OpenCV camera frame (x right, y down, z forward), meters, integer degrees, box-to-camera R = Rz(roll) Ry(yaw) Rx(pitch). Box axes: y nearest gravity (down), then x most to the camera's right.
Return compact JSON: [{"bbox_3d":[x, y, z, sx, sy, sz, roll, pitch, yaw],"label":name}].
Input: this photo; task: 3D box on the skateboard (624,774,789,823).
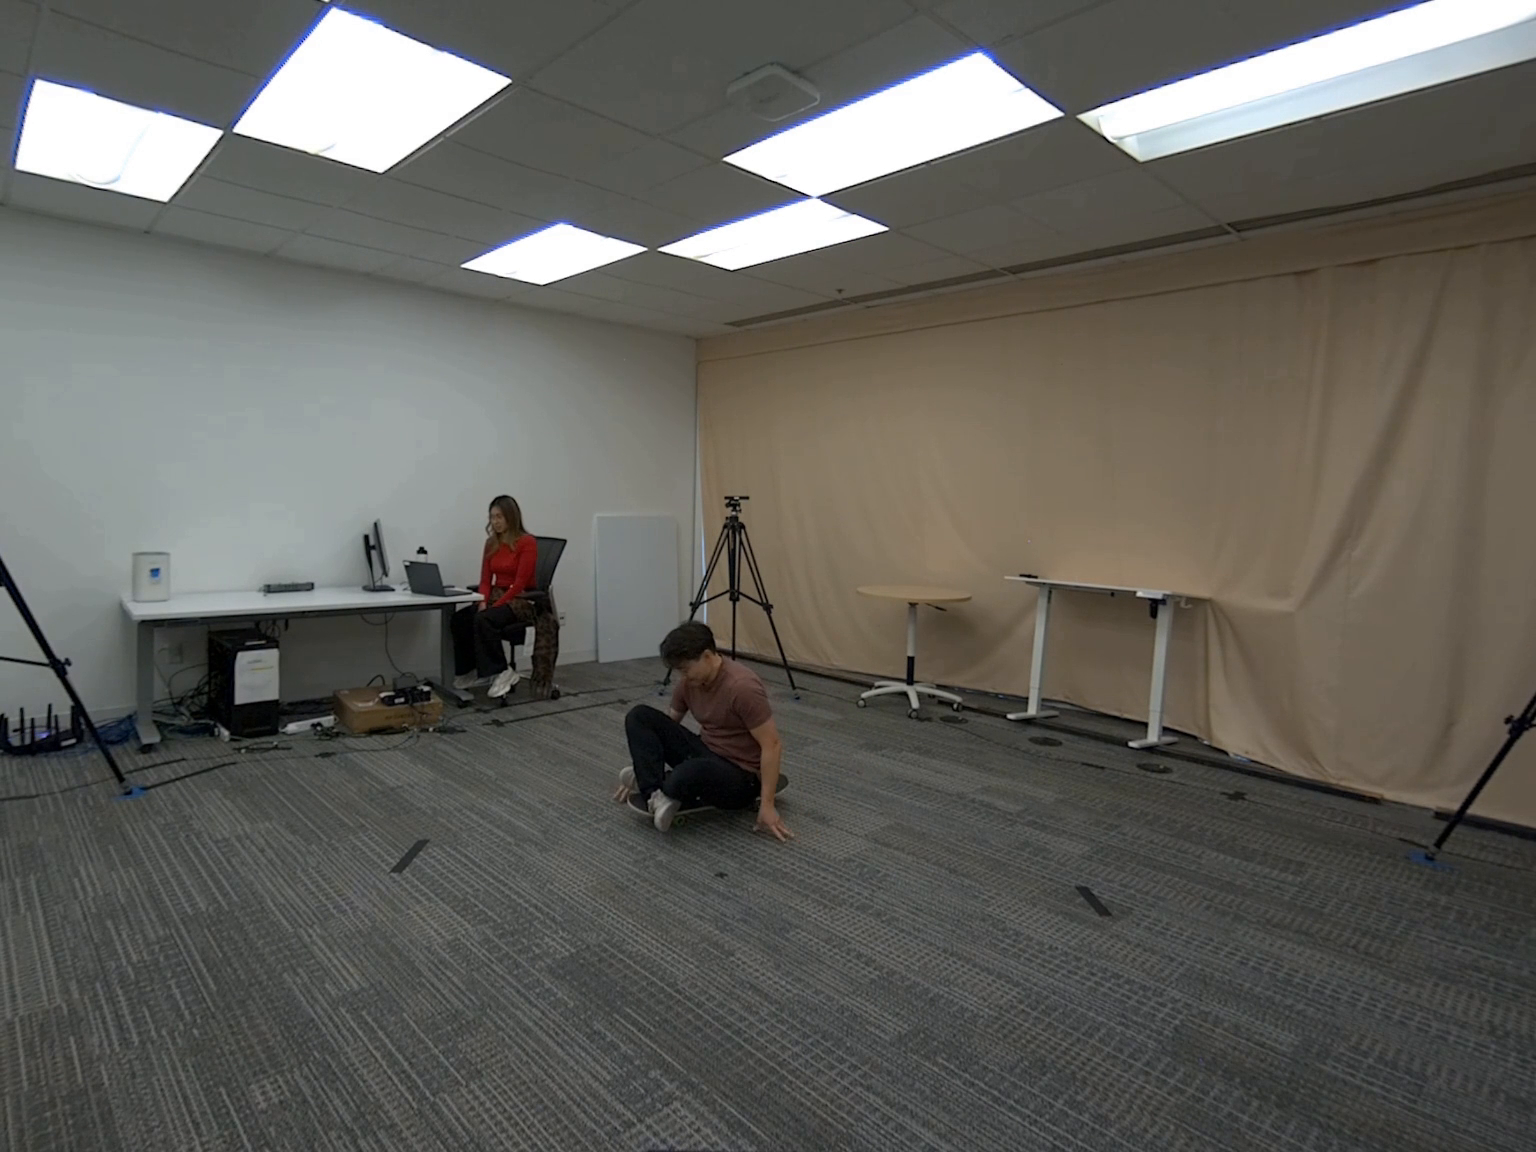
[{"bbox_3d":[-0.275,0.991,3.734,0.770,0.109,0.198,2,12,-26],"label":"skateboard"}]
